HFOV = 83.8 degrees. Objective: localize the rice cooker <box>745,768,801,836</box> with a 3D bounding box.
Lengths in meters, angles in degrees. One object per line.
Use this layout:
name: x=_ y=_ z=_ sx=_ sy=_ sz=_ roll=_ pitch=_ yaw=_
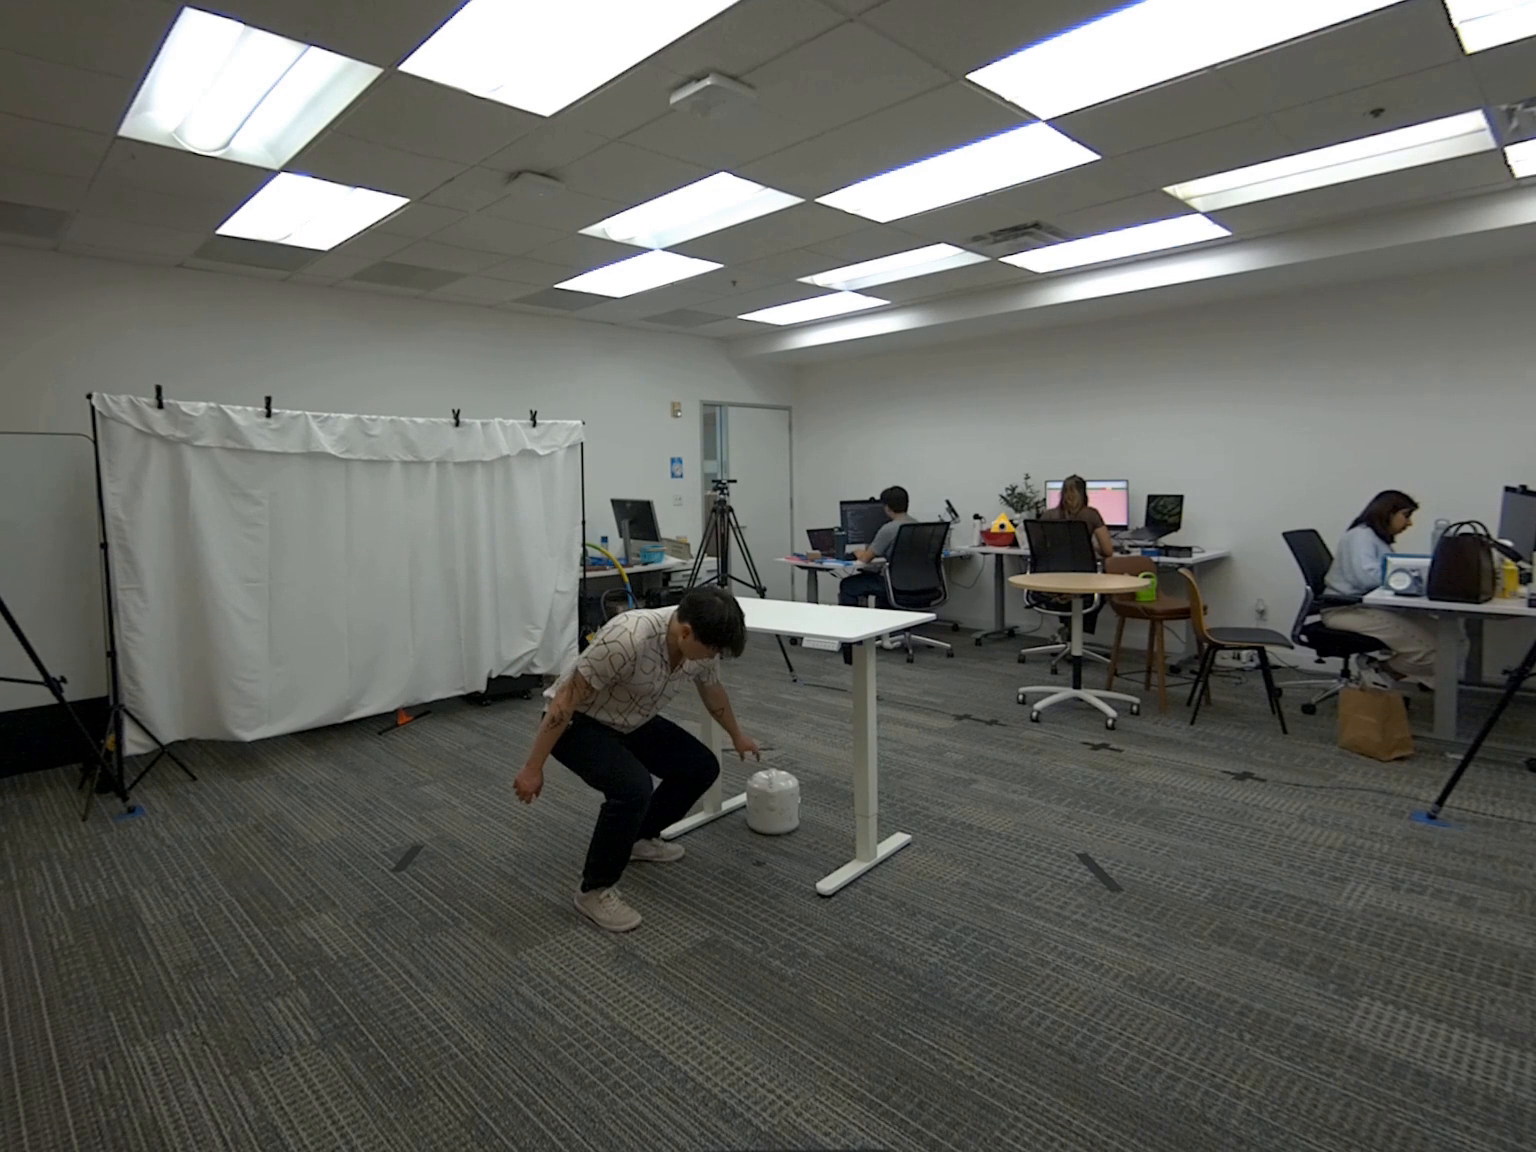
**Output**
rice cooker: x=0.024 y=0.893 z=3.429 sx=0.219 sy=0.232 sz=0.220 roll=-1 pitch=5 yaw=5
